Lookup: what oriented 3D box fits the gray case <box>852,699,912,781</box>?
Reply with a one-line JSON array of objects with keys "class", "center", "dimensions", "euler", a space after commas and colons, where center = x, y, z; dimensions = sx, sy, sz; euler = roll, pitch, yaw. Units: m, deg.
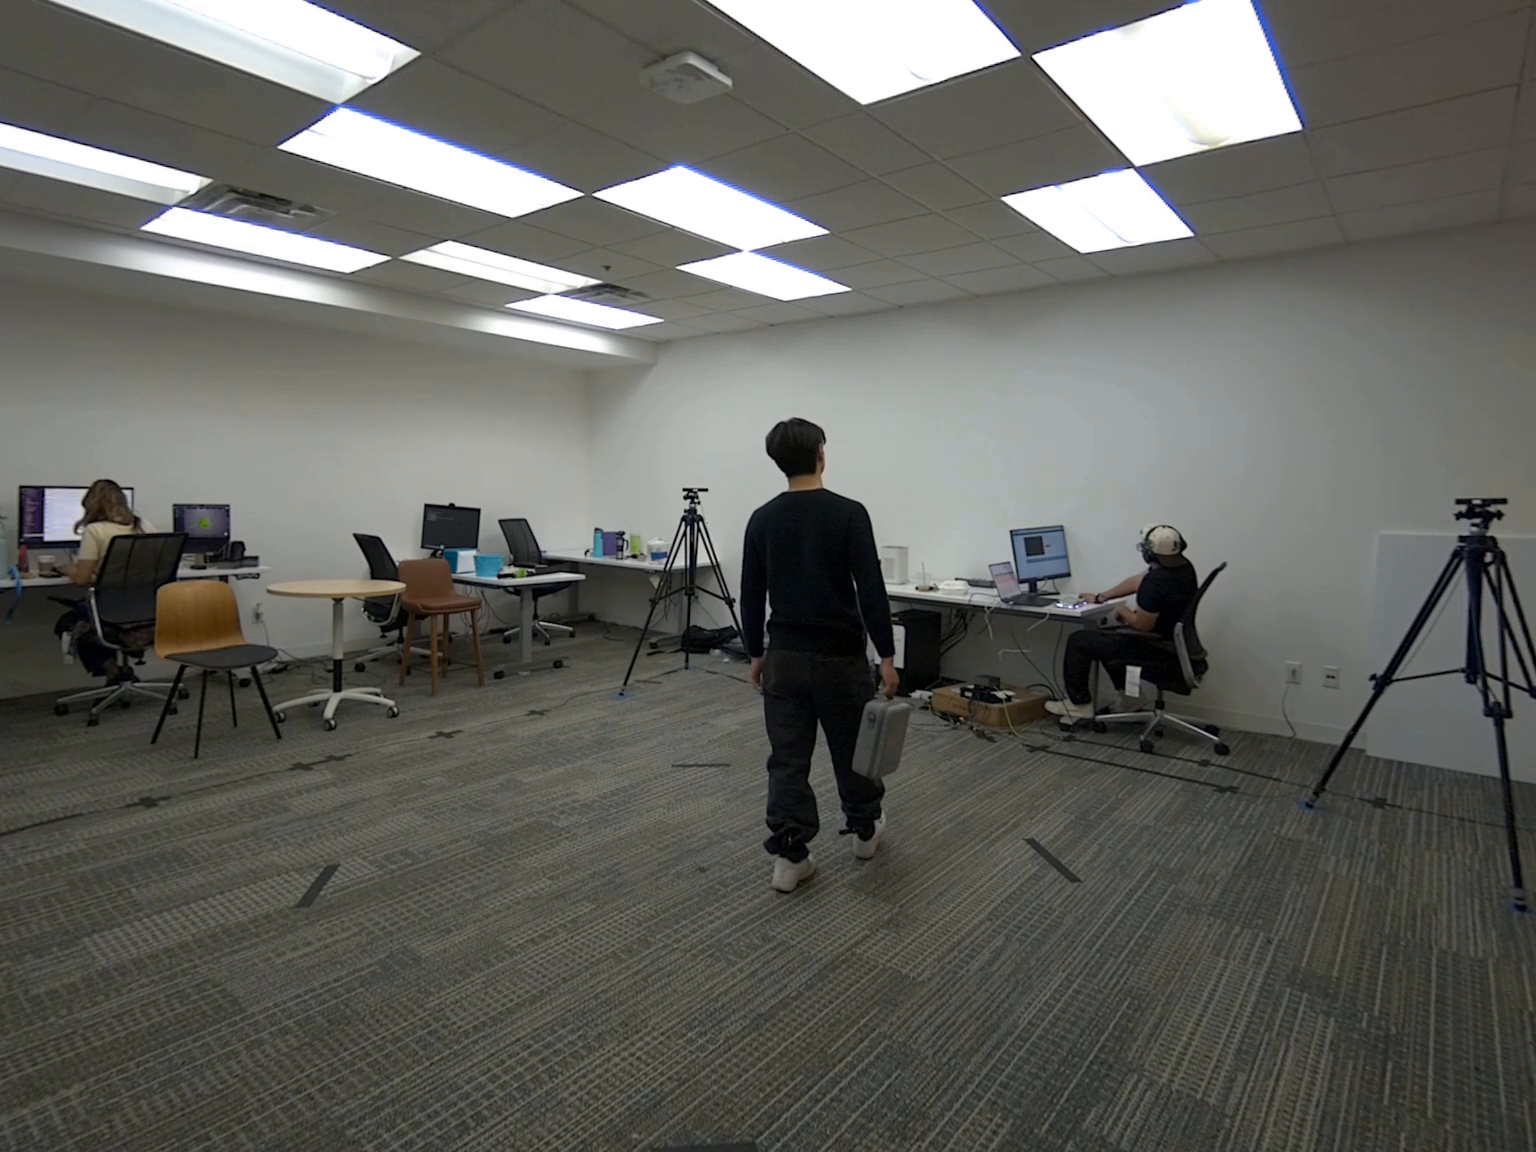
[{"class": "gray case", "center": [0.382, 0.547, 2.956], "dimensions": [0.107, 0.261, 0.249], "euler": [10, 0, 25]}]
